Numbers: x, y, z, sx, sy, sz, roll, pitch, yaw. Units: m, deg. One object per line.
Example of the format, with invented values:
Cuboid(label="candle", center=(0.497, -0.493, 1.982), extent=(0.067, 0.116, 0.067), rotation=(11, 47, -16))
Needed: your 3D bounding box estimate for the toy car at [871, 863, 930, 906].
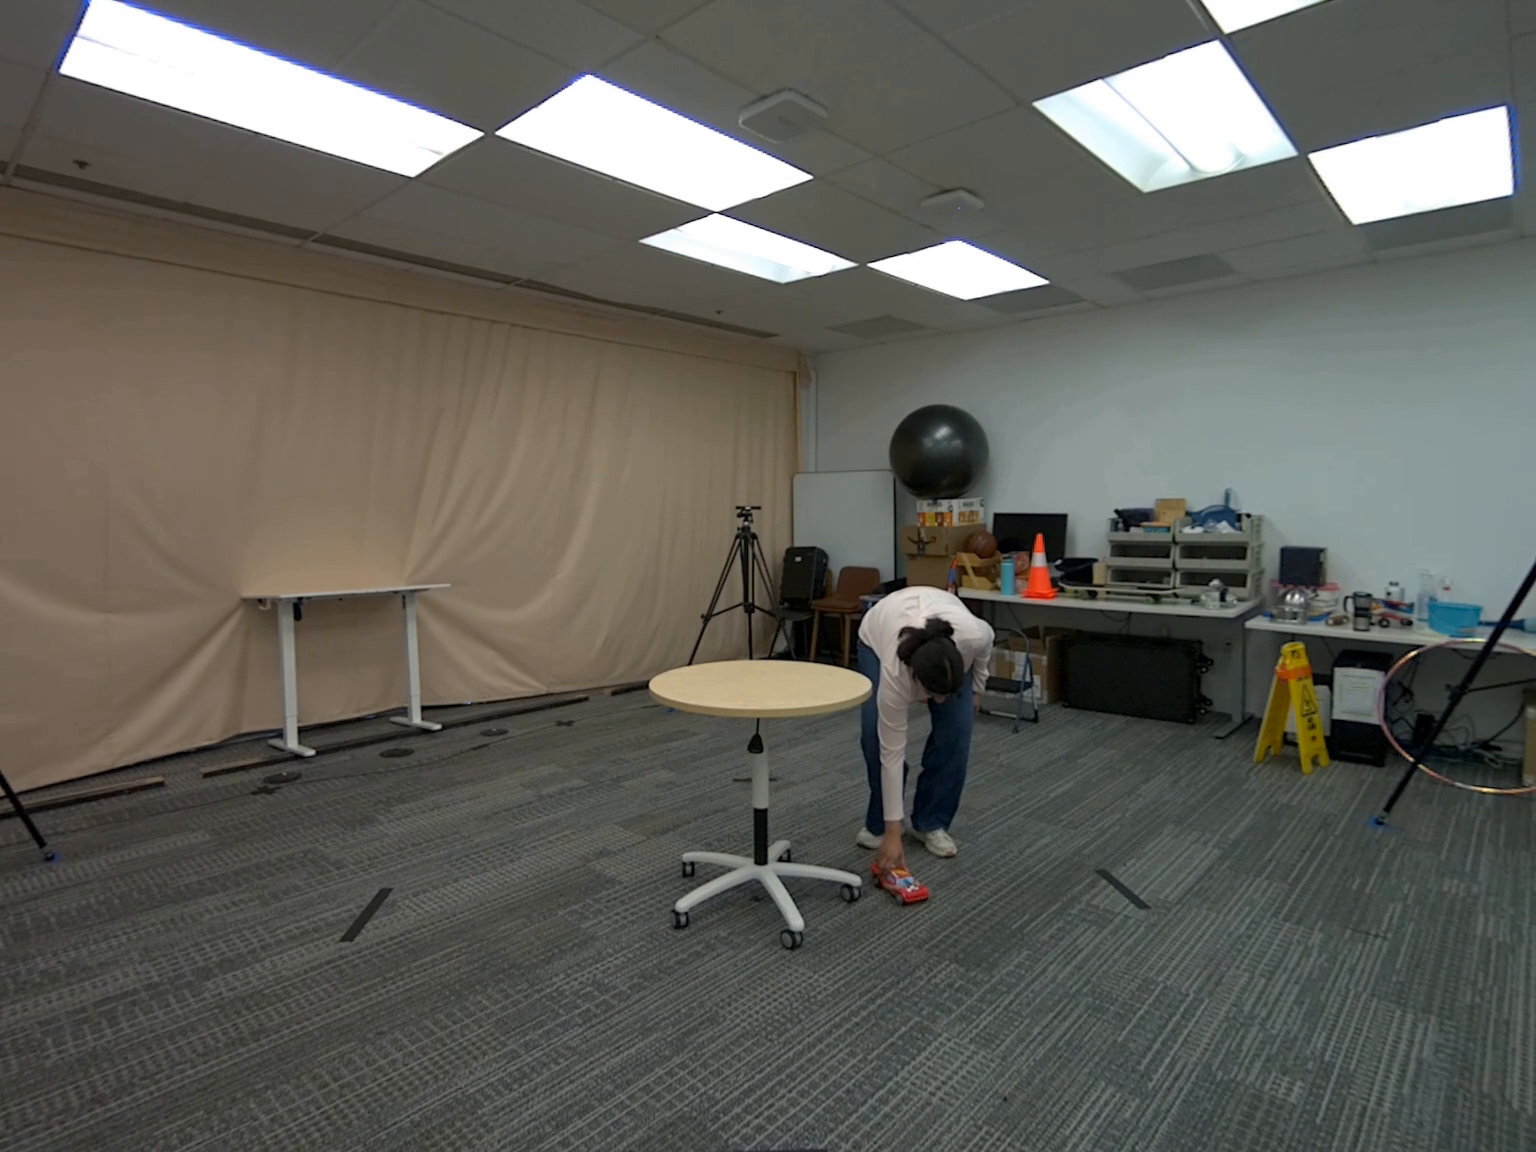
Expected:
Cuboid(label="toy car", center=(0.472, 1.103, 3.042), extent=(0.127, 0.082, 0.262), rotation=(-3, 13, -23))
